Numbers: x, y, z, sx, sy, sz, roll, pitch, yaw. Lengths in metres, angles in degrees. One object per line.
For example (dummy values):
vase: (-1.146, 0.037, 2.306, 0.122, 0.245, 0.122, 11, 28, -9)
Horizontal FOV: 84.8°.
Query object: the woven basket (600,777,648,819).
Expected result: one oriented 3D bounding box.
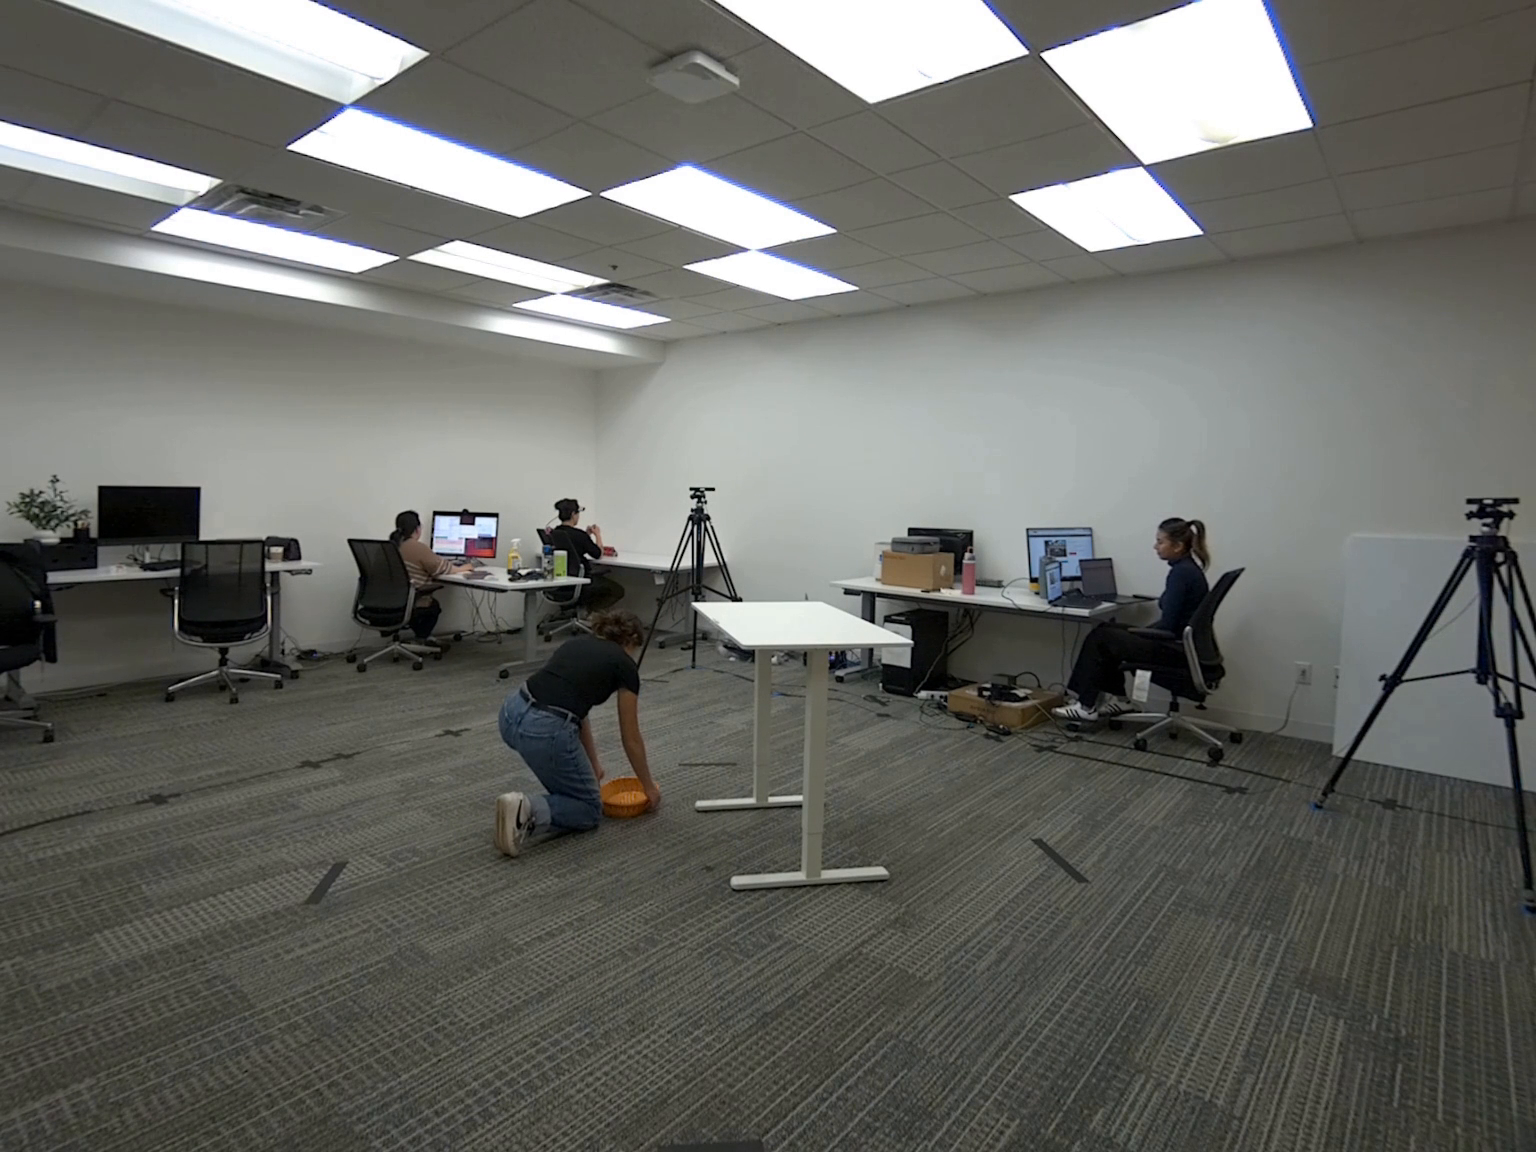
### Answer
woven basket: (-0.620, 0.963, 3.712, 0.255, 0.073, 0.348, 4, 6, 8)
